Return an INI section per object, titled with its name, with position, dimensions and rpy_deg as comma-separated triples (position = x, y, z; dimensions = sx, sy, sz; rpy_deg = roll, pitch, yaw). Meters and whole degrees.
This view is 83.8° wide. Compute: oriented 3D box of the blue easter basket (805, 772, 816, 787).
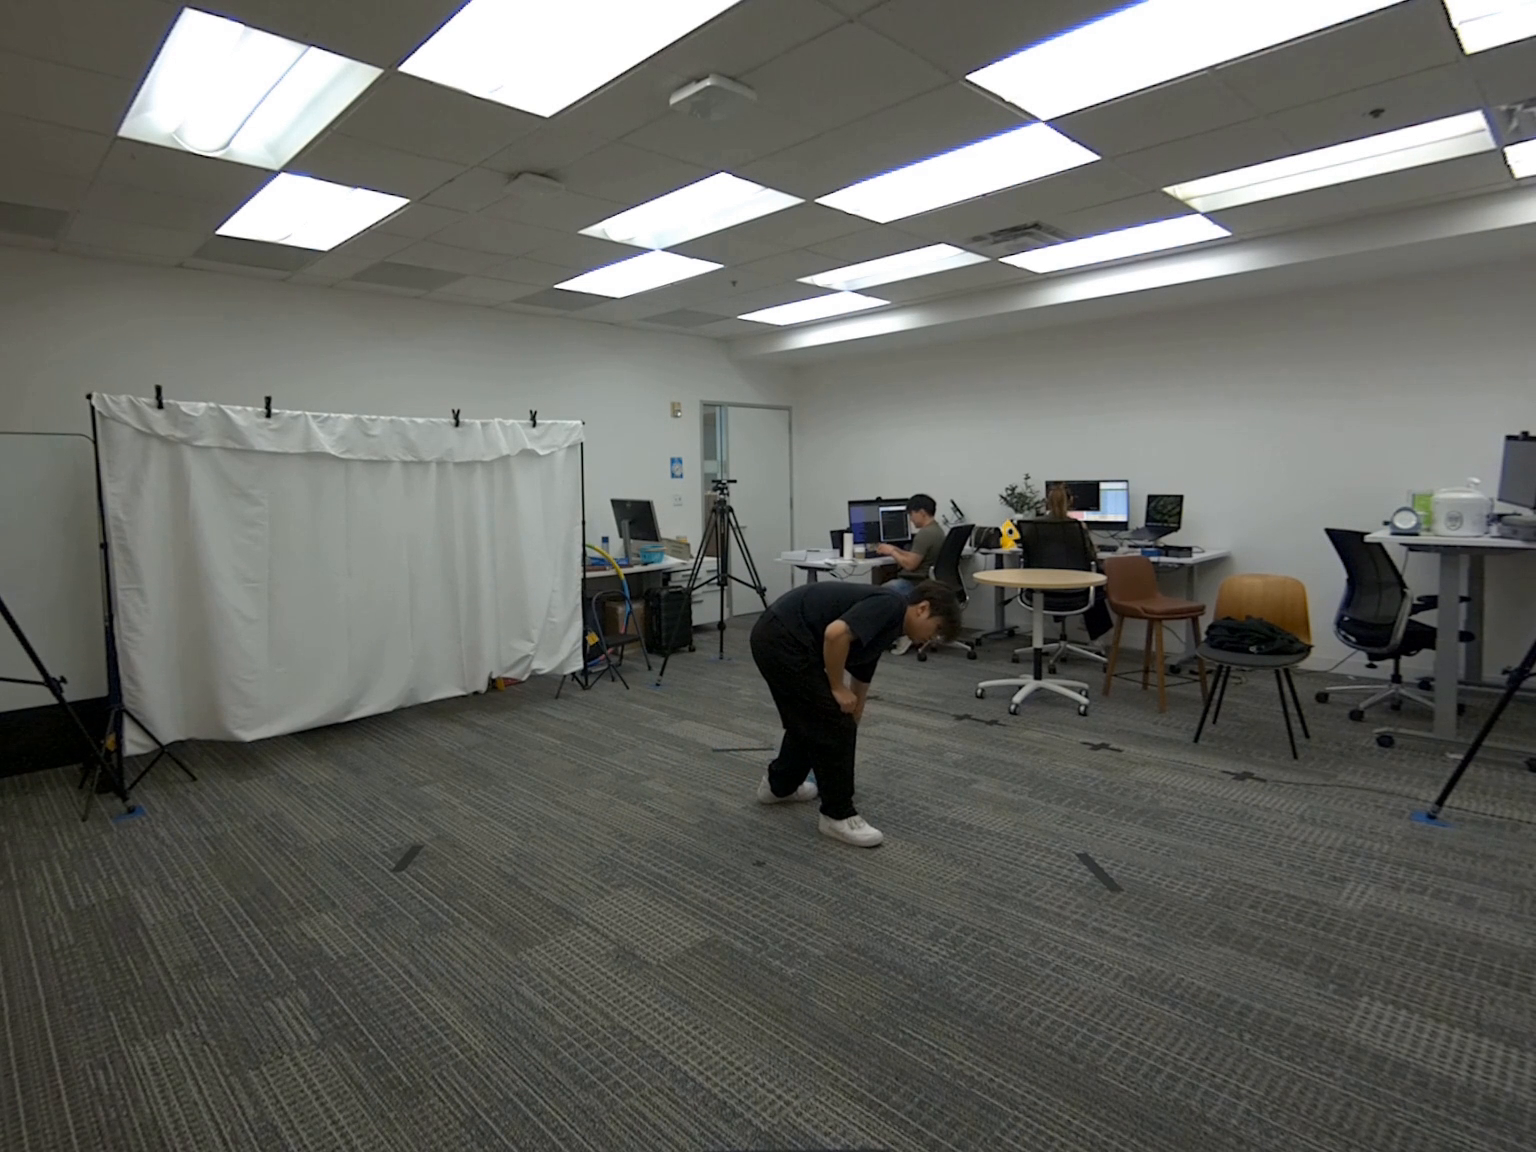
[blue easter basket]
position = 0.293, 0.880, 3.838
dimensions = 0.243, 0.156, 0.244
rpy_deg = -3, 2, -2
